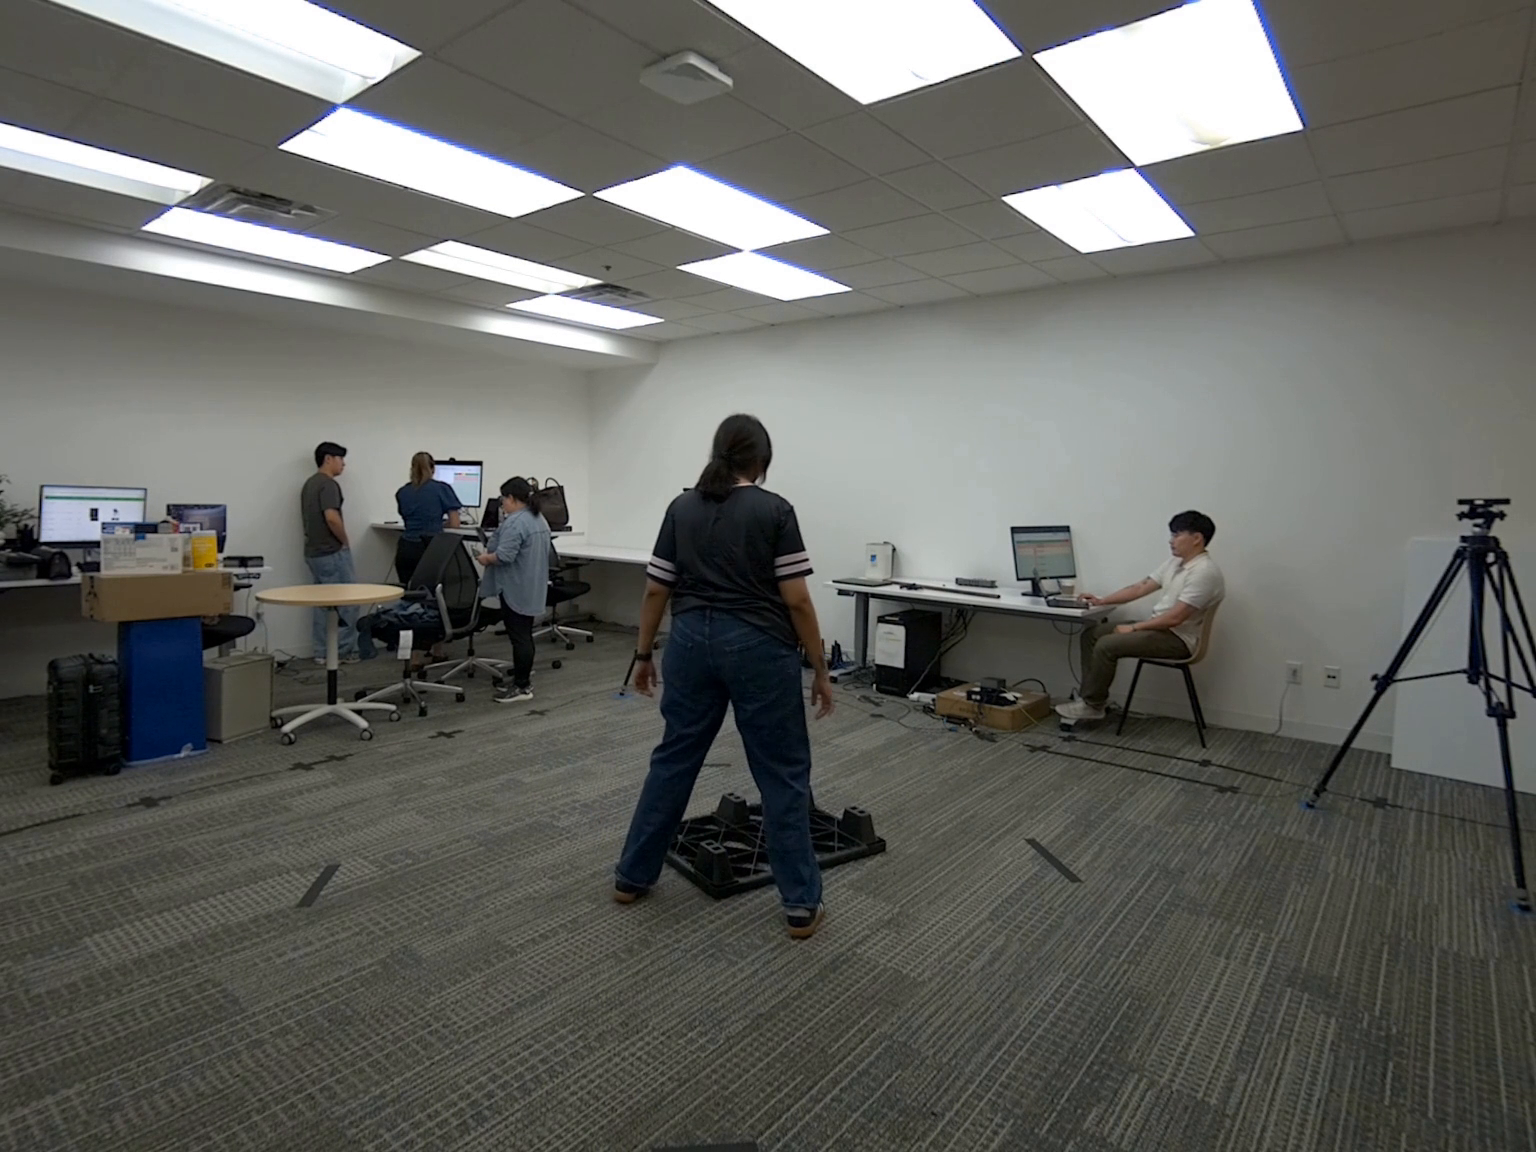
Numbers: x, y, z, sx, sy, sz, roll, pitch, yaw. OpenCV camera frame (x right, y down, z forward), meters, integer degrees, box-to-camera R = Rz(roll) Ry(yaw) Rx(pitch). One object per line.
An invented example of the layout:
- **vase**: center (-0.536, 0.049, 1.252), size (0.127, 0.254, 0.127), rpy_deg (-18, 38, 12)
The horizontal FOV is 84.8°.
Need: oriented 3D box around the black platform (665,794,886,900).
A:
- **black platform**: center (-0.038, 0.987, 3.324), size (0.783, 0.143, 0.625), rpy_deg (-3, 7, -35)
